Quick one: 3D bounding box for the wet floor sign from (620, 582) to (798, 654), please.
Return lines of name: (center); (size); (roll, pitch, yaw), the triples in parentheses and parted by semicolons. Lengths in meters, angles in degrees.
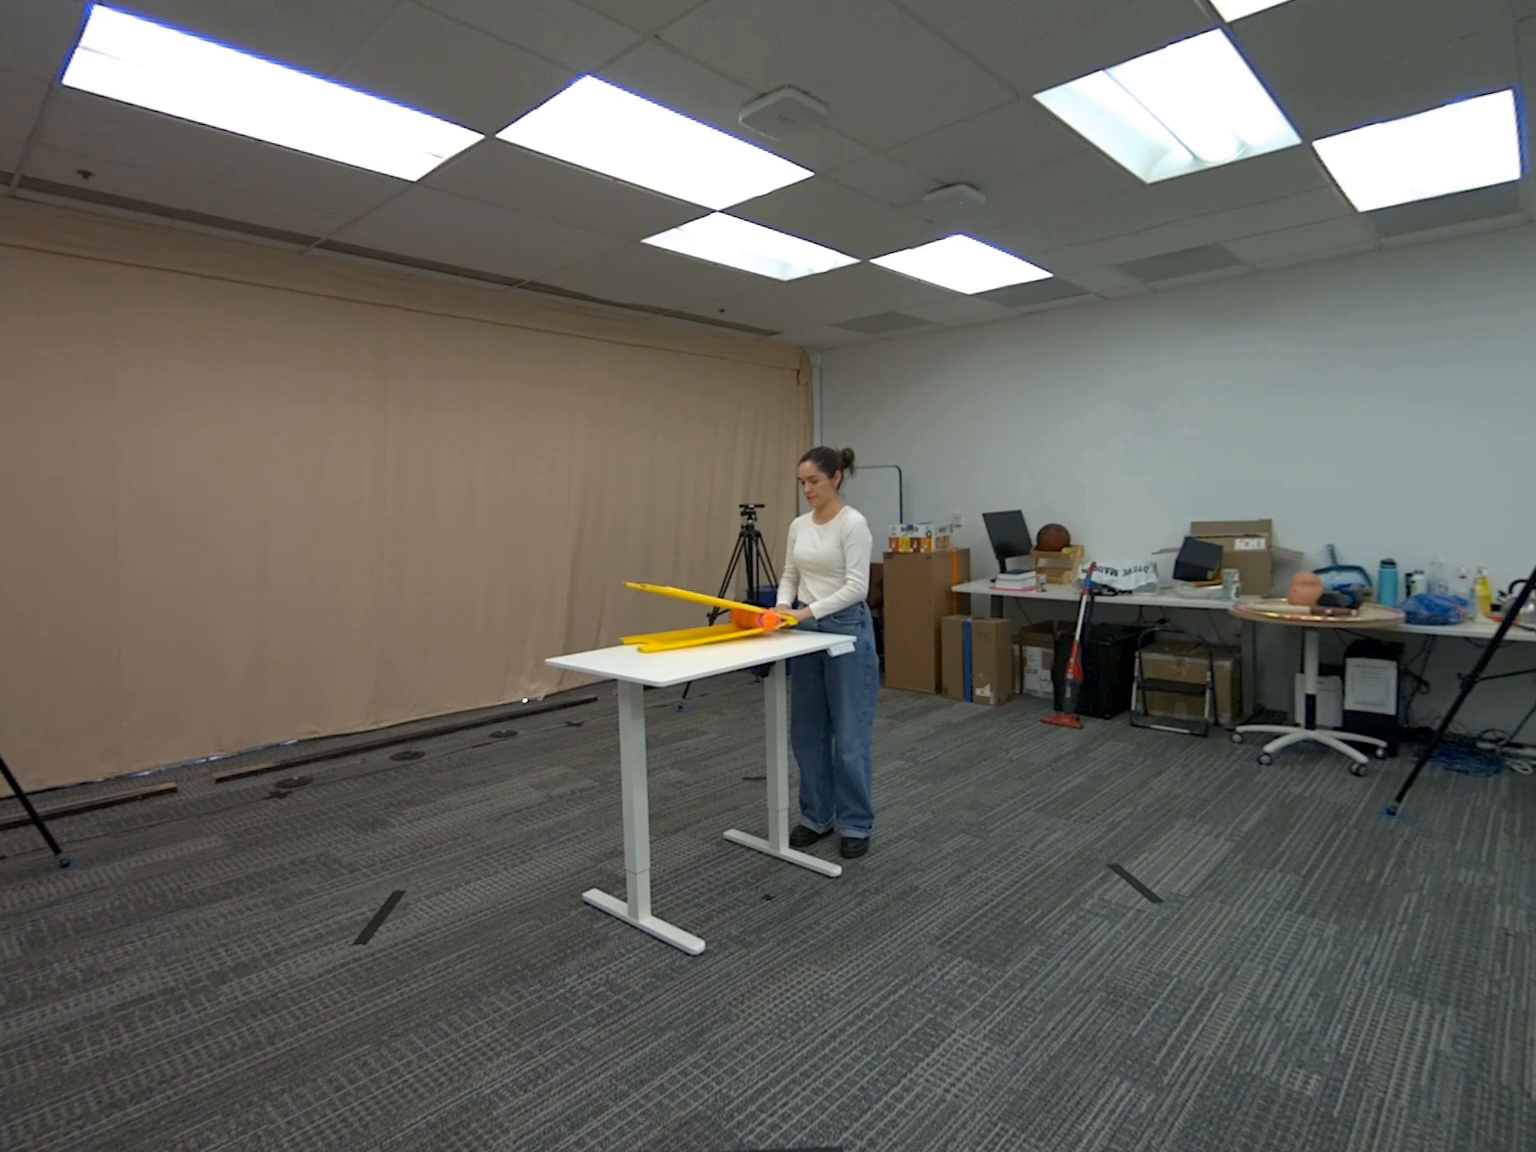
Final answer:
wet floor sign: (-0.198, 0.170, 3.205); (0.630, 0.290, 0.289); (2, 0, -25)
